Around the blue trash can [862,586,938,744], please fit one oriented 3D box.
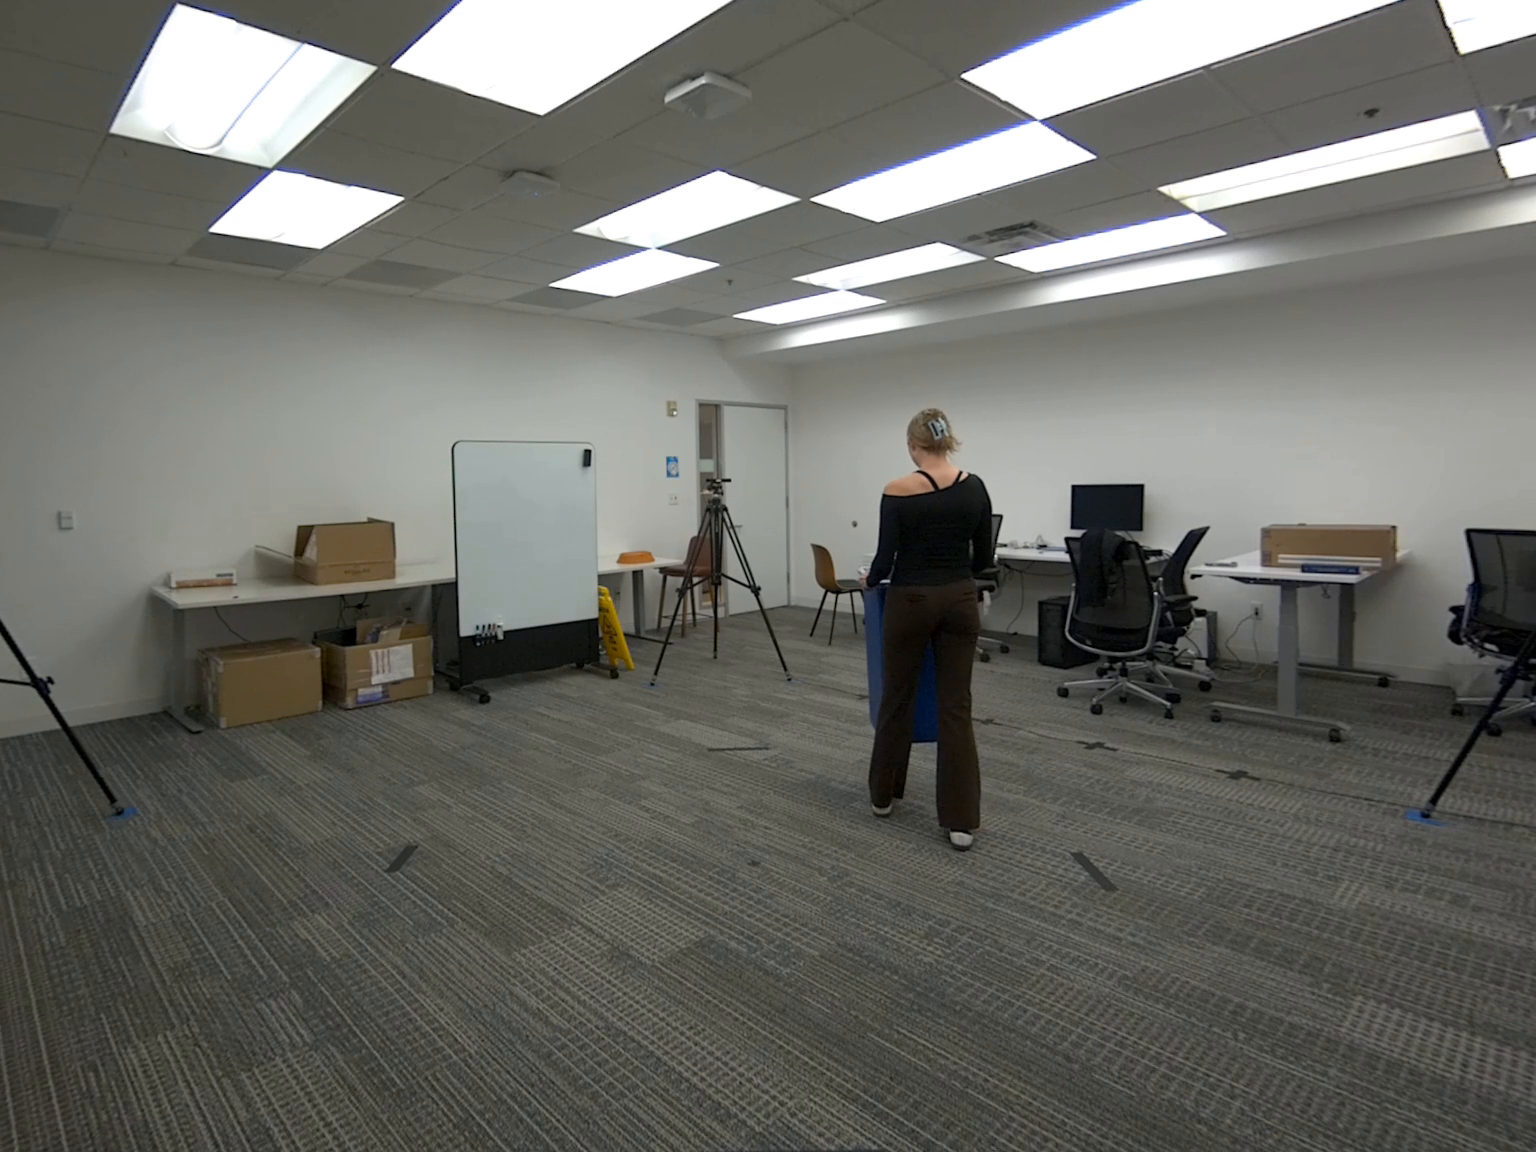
[{"bbox_3d":[0.623,0.339,3.748,0.372,0.709,0.382,-2,7,-5],"label":"blue trash can"}]
